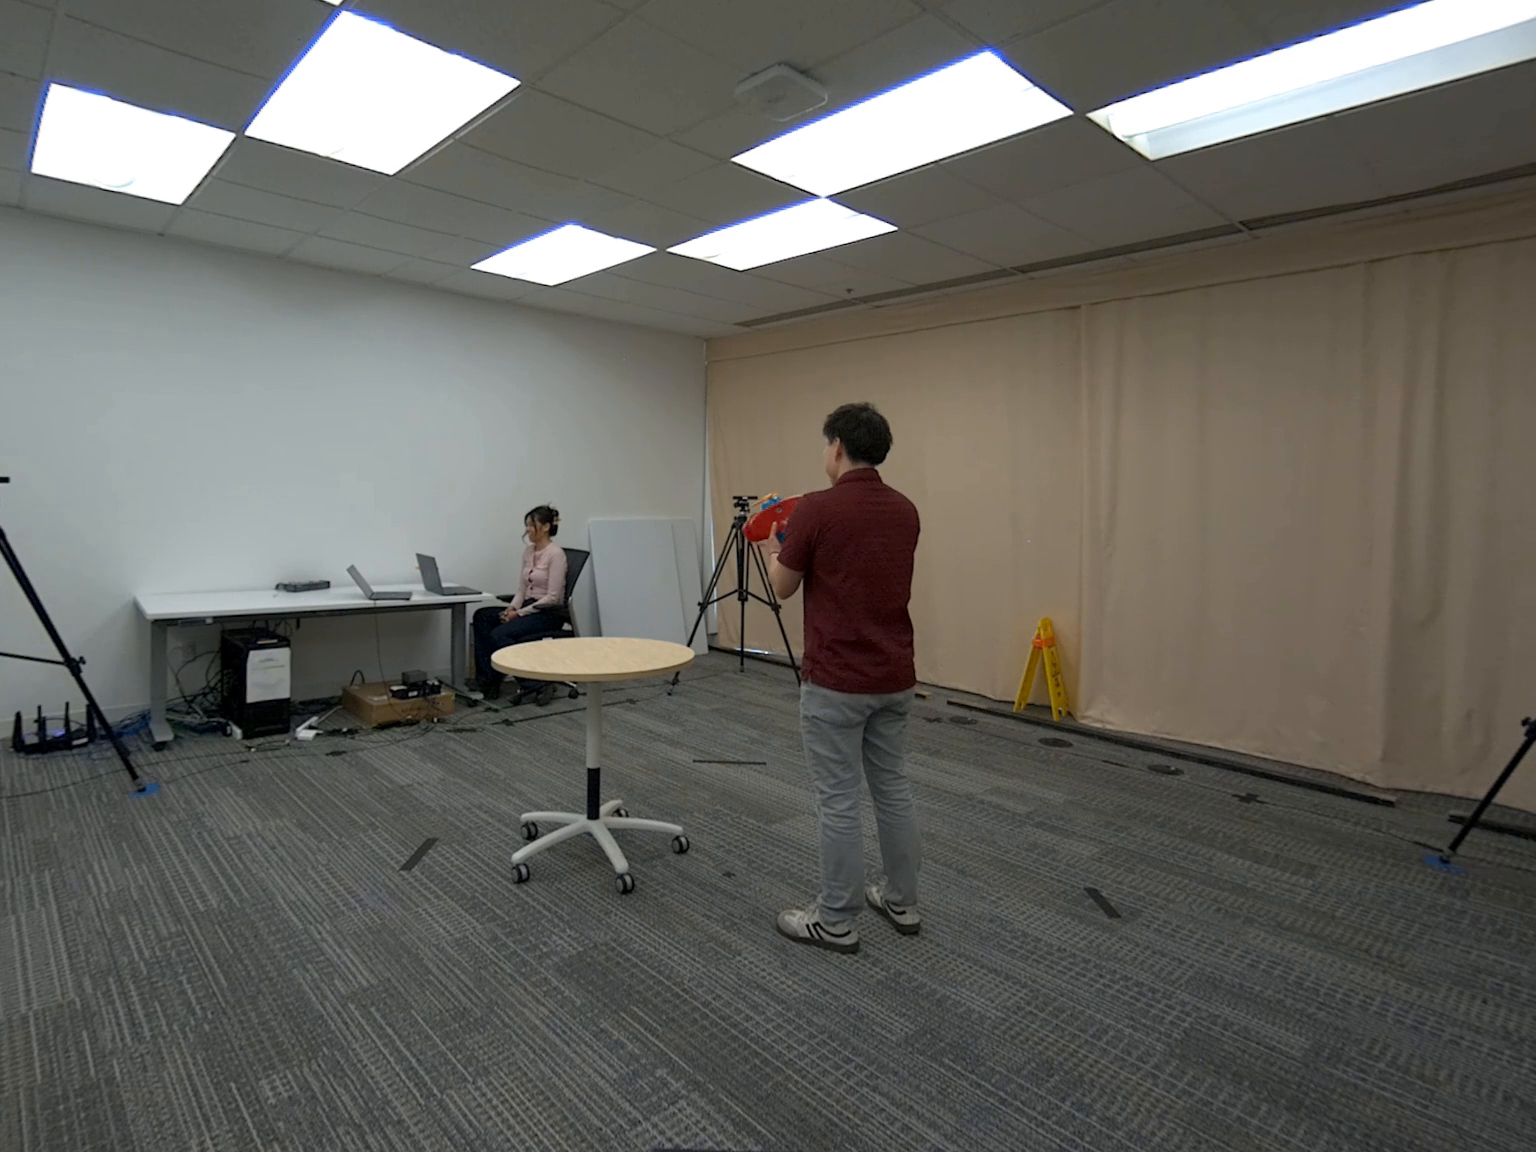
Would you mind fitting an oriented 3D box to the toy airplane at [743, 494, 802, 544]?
[{"bbox_3d":[0.068,-0.151,2.996,0.262,0.252,0.154,32,-24,9],"label":"toy airplane"}]
